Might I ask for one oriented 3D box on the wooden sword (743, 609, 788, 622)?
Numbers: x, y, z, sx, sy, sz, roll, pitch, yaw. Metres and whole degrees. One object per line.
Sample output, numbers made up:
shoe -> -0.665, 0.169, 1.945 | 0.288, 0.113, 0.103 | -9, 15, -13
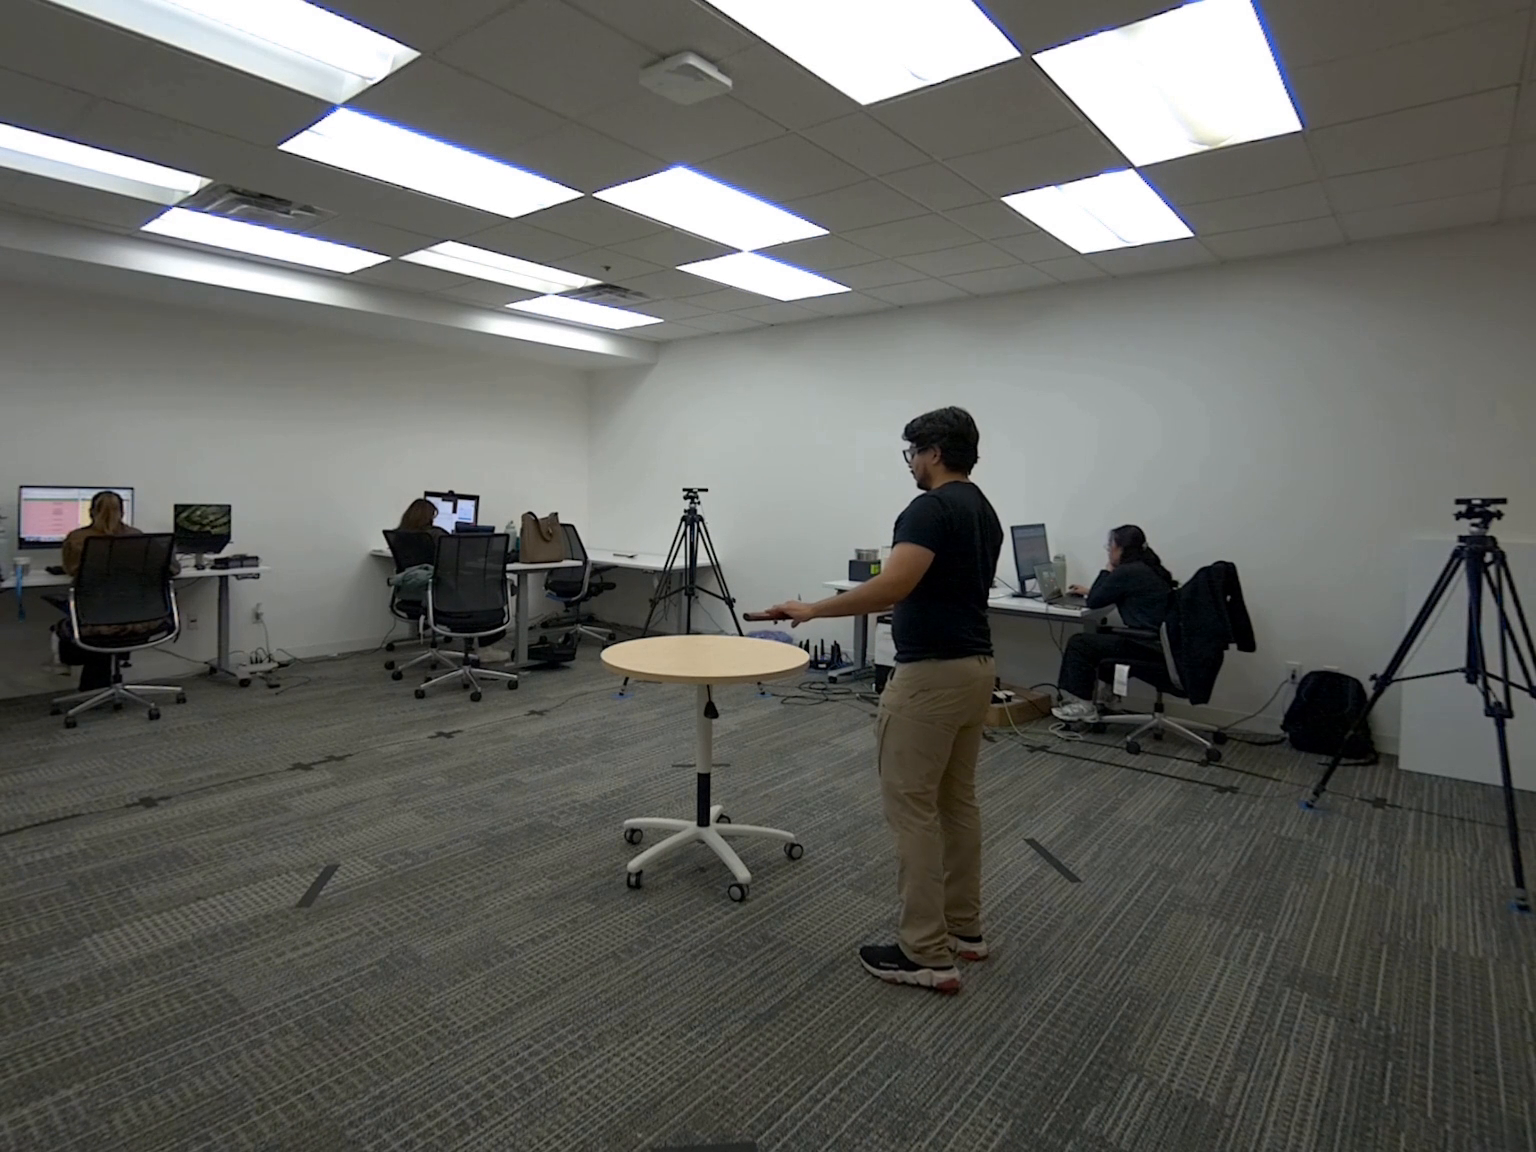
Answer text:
wooden sword -> 0.268, 0.113, 2.863 | 0.992, 0.024, 0.053 | 2, -1, -39
